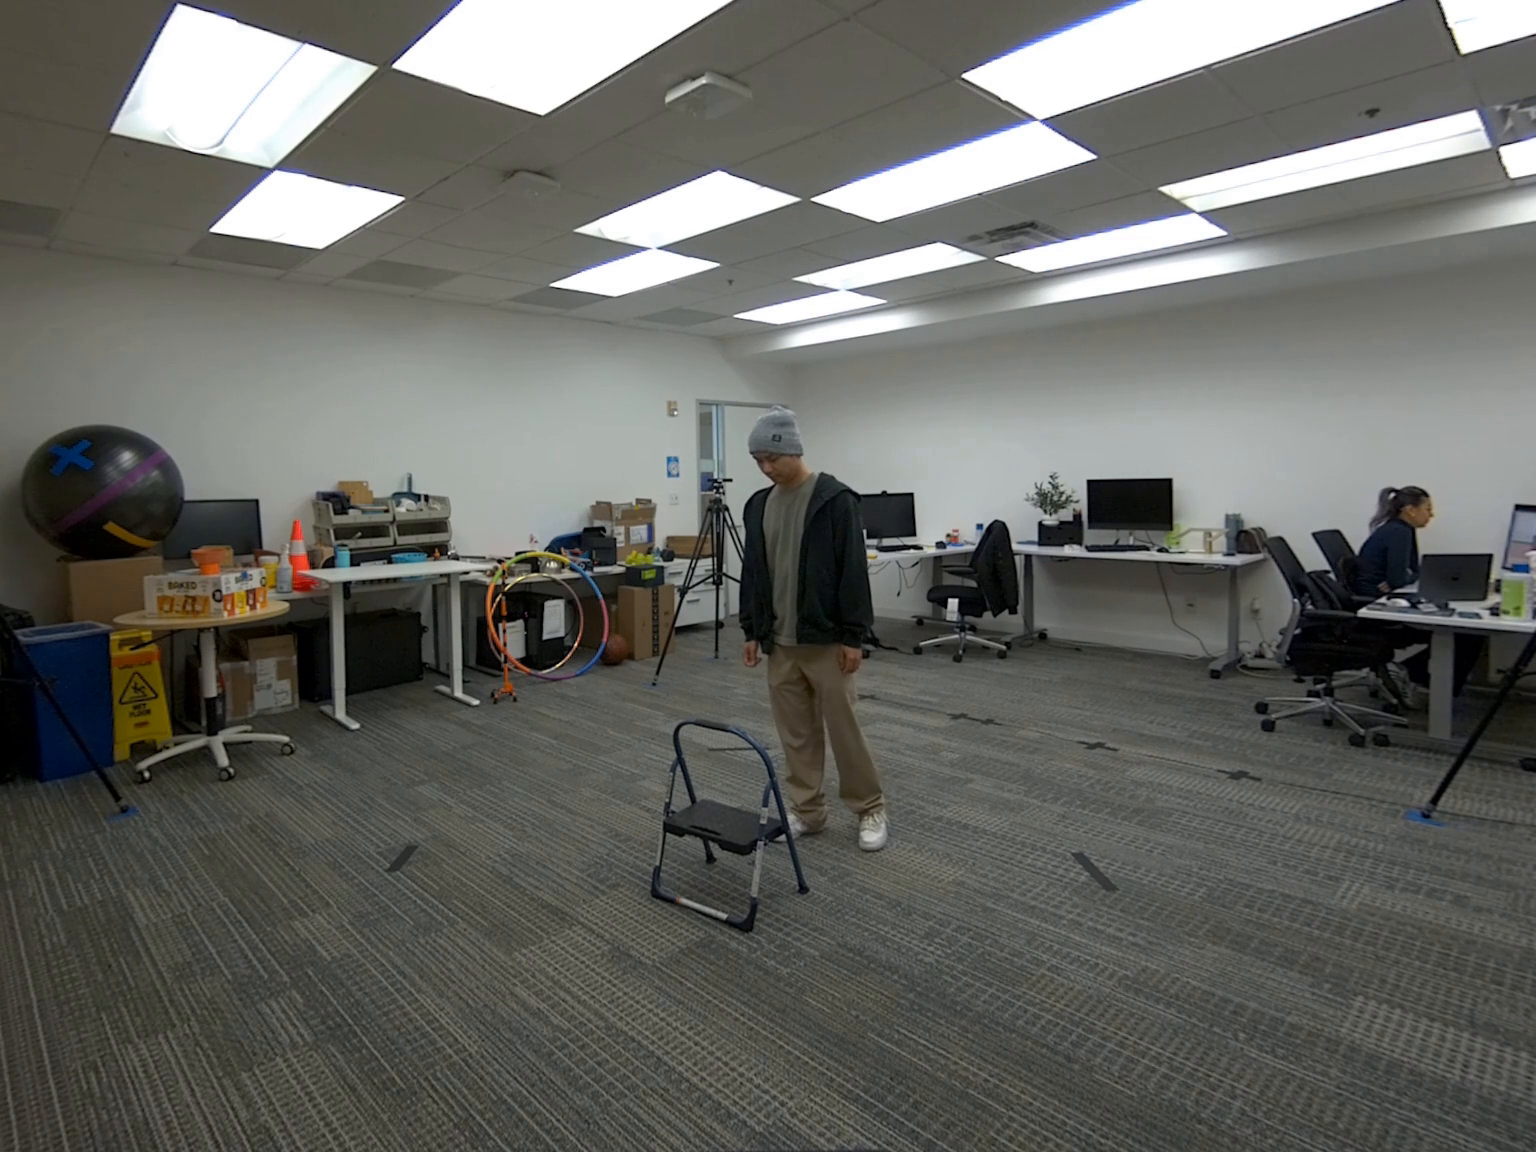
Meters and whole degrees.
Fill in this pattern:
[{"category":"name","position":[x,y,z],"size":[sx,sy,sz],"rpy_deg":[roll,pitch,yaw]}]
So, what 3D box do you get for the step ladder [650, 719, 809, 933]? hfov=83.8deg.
[{"category":"step ladder","position":[-0.135,0.771,2.866],"size":[0.443,0.604,0.341],"rpy_deg":[2,5,35]}]
